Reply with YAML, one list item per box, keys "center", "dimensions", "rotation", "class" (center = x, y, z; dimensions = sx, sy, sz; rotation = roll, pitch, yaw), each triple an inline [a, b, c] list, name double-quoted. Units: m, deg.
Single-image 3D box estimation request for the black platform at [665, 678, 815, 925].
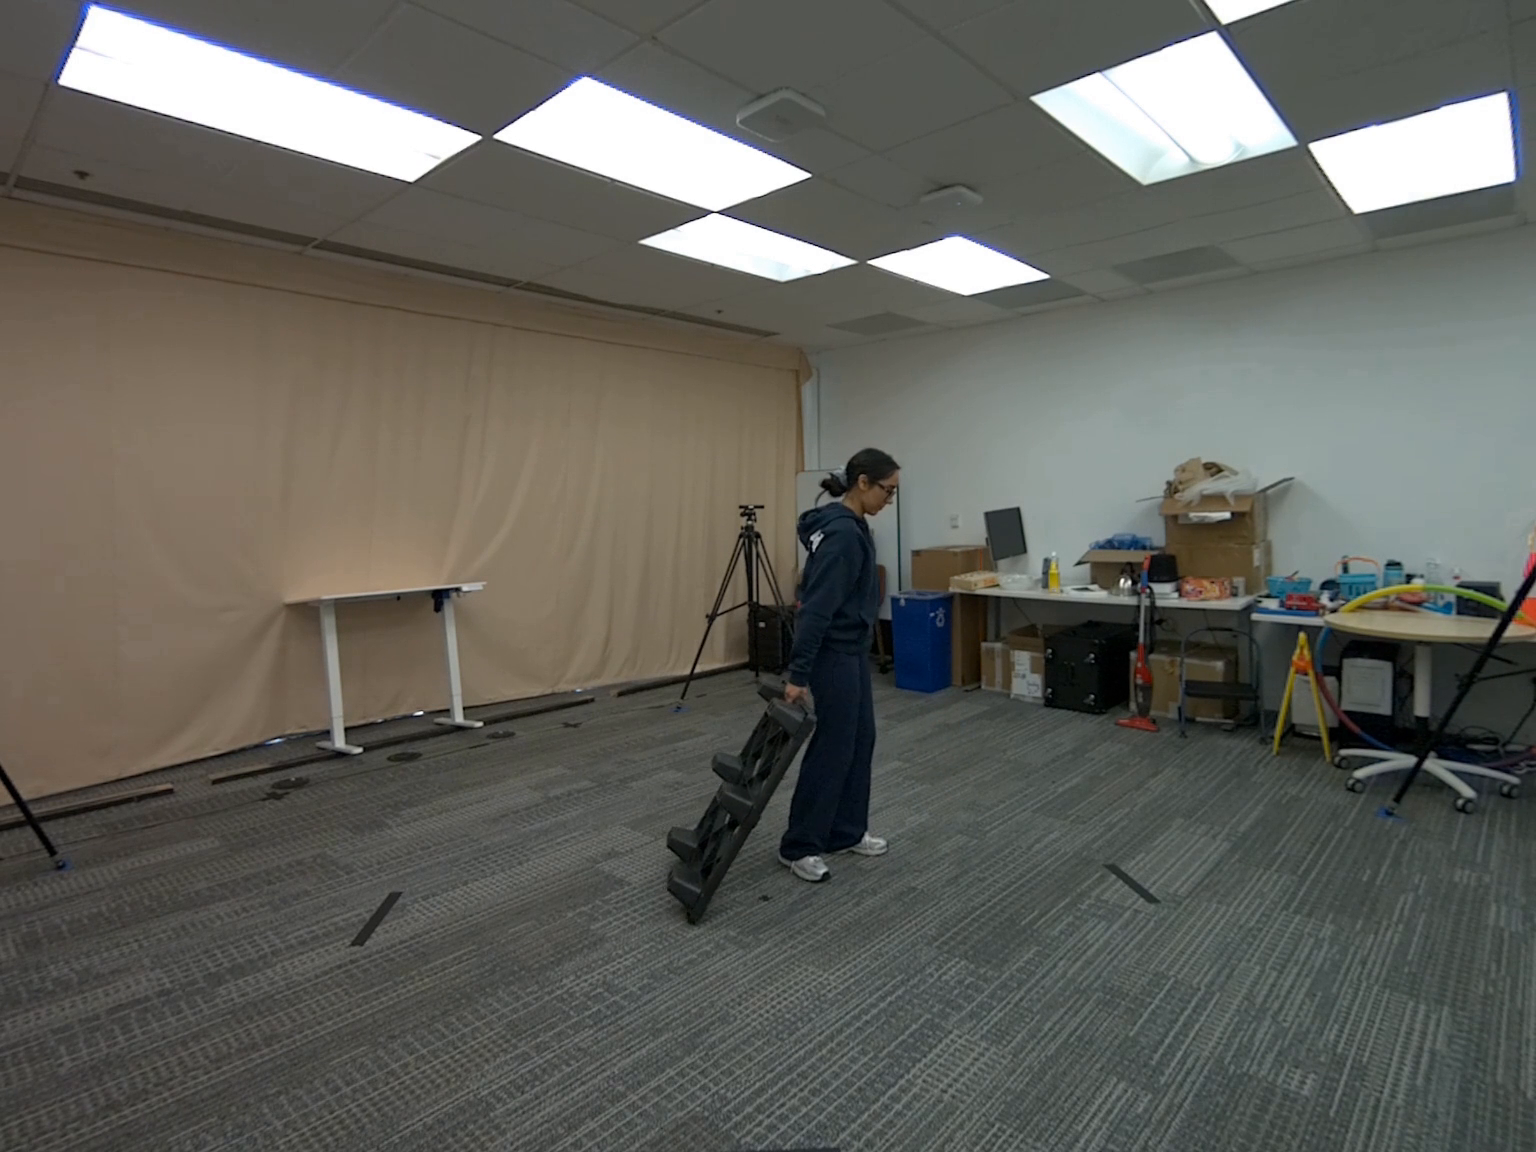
- center: [-0.127, 0.767, 3.073]
  dimensions: [0.142, 0.805, 0.610]
  rotation: [31, 0, -8]
  class: "black platform"
